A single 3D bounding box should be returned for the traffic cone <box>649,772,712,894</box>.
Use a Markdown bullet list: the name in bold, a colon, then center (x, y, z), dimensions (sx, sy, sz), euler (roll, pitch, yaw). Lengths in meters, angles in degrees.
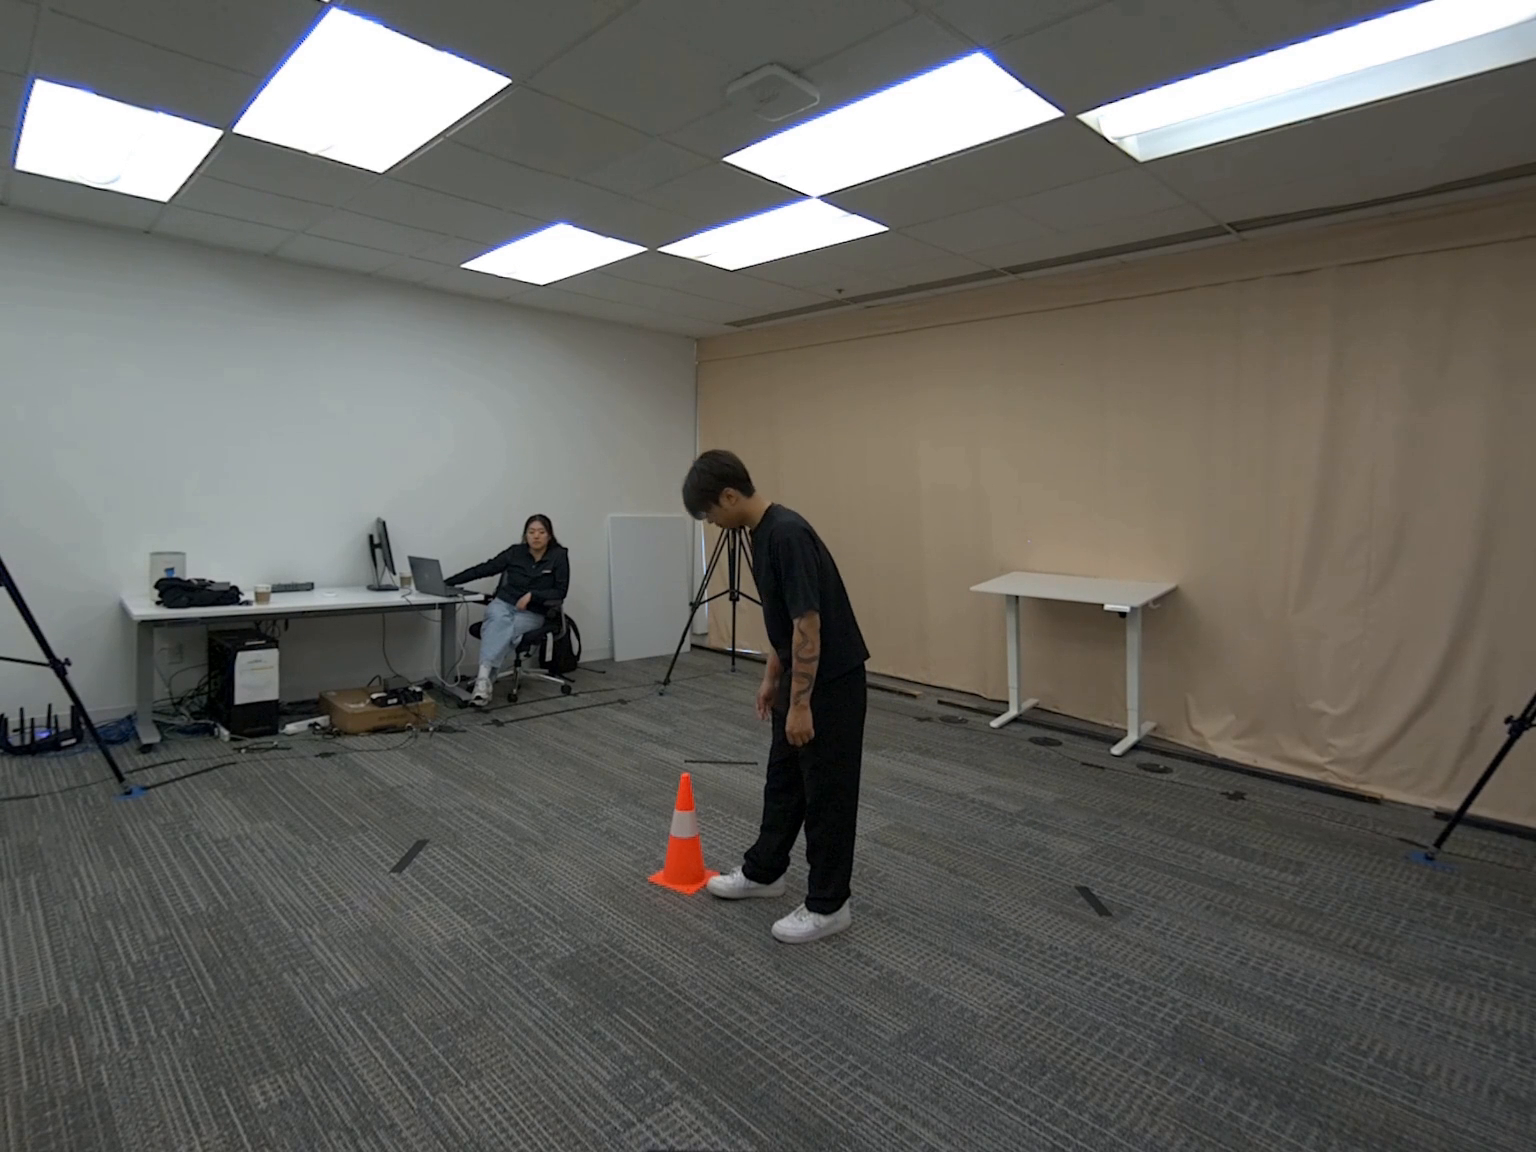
- **traffic cone**: center (-0.308, 0.923, 3.071), dimensions (0.200, 0.383, 0.209), euler (1, 4, -43)
